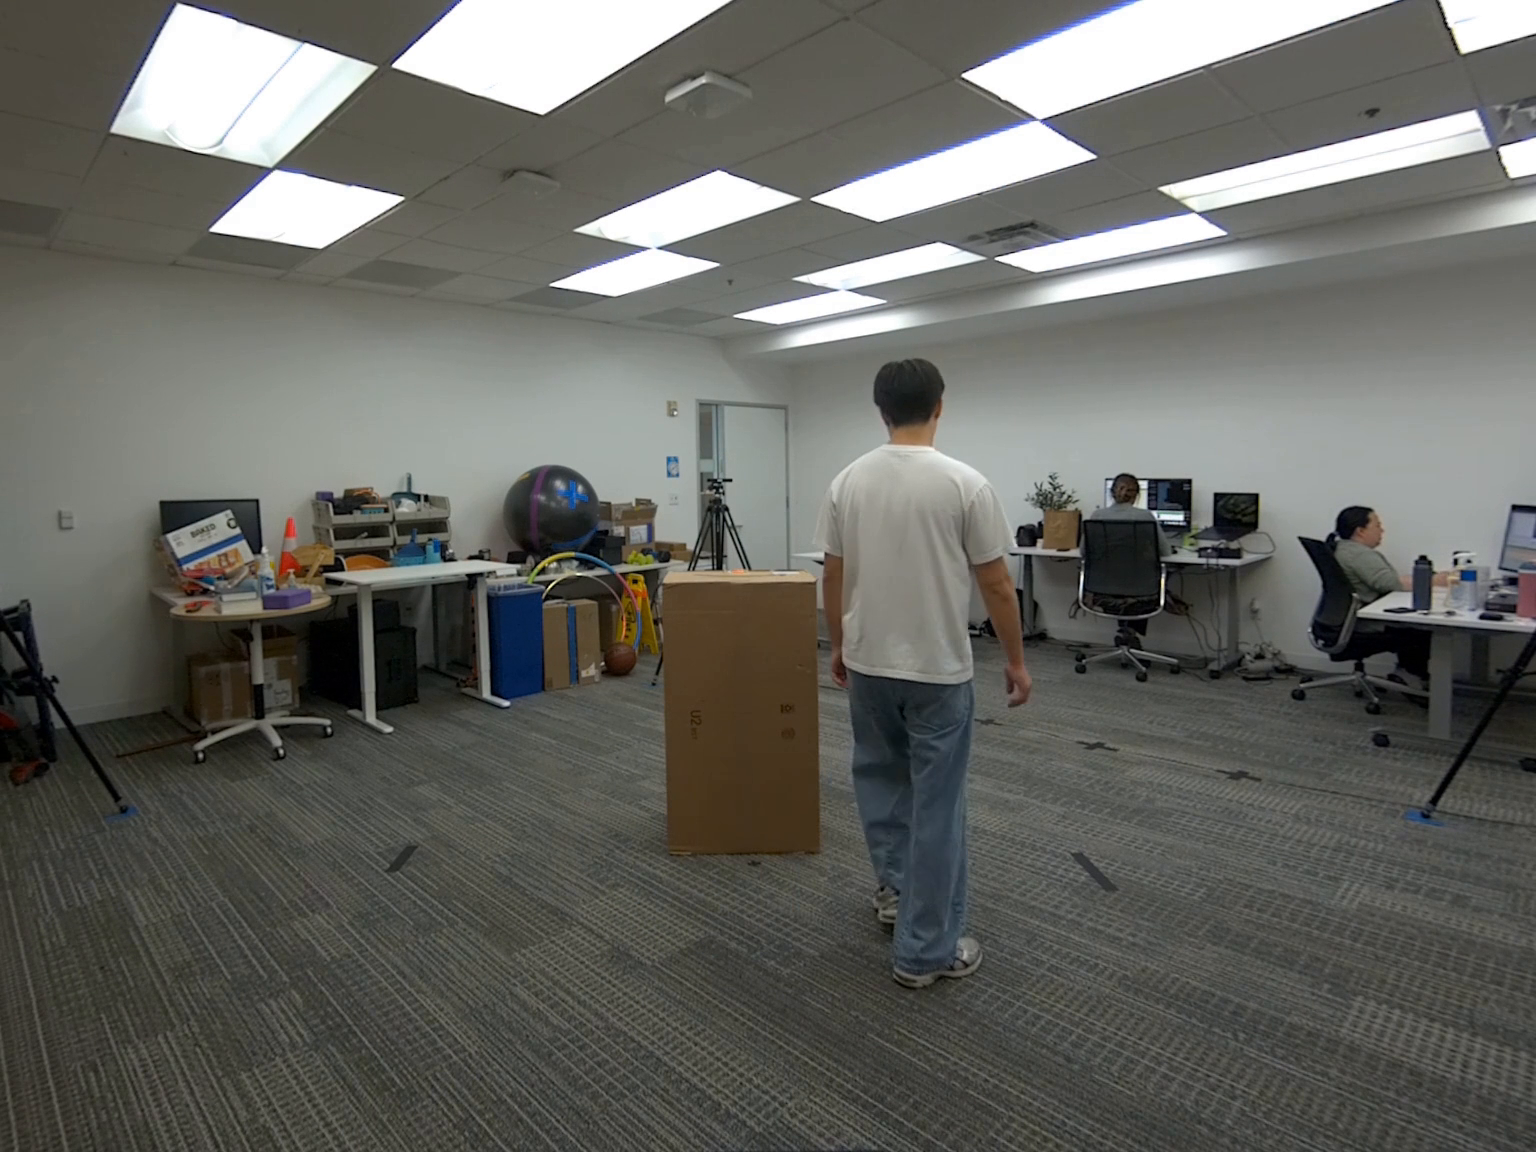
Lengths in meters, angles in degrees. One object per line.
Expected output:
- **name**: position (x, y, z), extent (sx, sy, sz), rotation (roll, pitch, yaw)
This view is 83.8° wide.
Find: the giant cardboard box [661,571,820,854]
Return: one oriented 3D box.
- **giant cardboard box**: position (-0.104, 0.509, 3.366), extent (0.577, 1.022, 0.428), rotation (-1, 4, -1)
